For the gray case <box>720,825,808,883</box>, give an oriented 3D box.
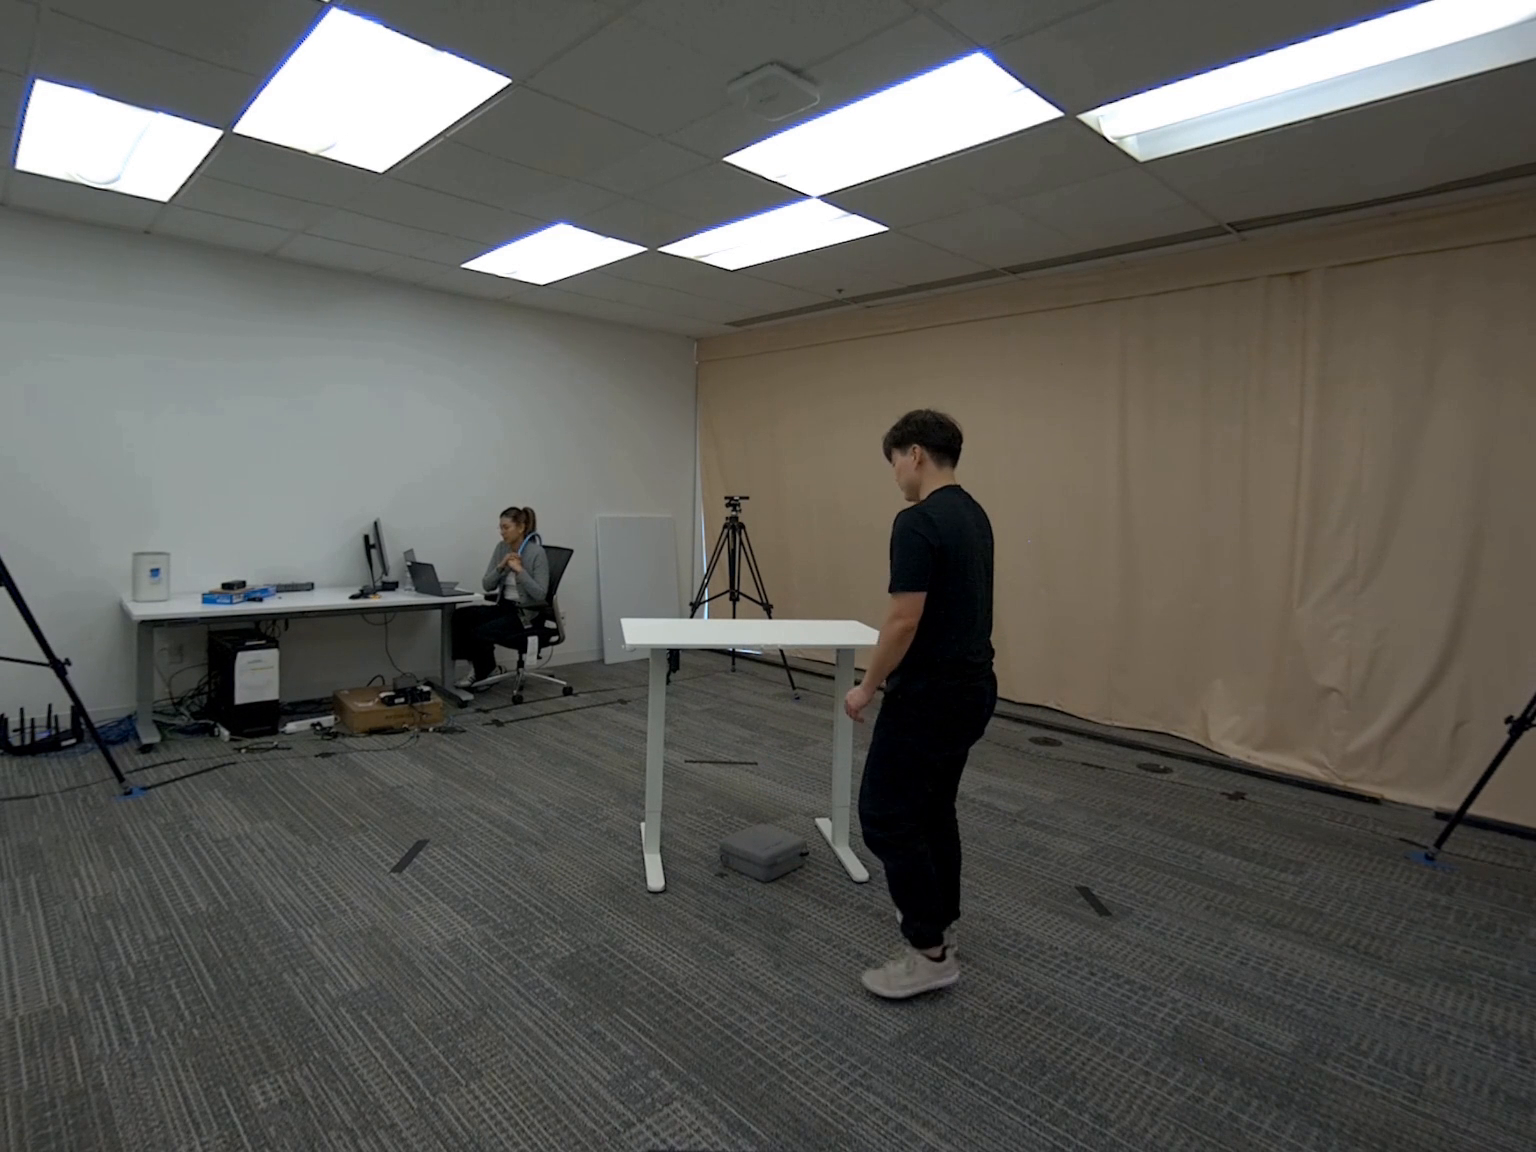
[{"bbox_3d":[-0.031,1.037,3.195,0.267,0.104,0.251,4,7,43],"label":"gray case"}]
